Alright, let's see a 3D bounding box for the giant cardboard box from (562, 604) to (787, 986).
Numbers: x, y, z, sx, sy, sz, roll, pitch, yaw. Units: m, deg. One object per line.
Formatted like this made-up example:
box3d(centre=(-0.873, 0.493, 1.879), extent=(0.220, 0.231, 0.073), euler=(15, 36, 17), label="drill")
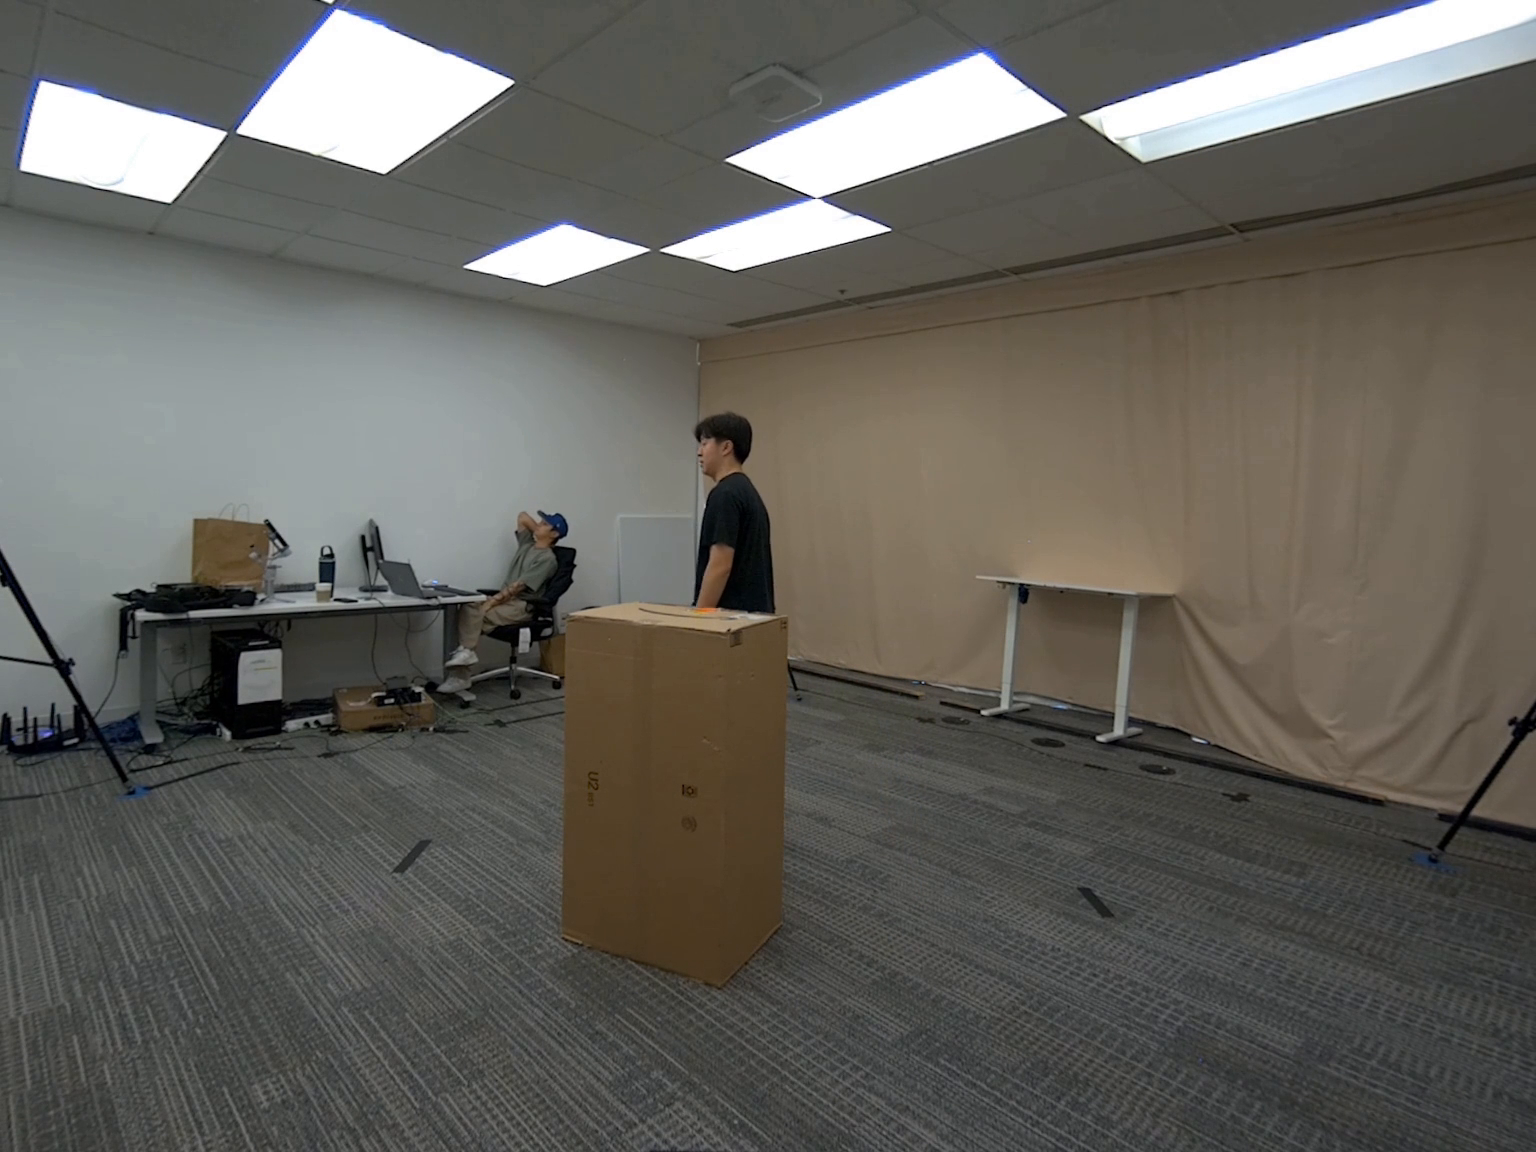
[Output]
box3d(centre=(-0.293, 0.631, 2.678), extent=(0.596, 1.025, 0.438), euler=(3, 3, 28), label="giant cardboard box")
